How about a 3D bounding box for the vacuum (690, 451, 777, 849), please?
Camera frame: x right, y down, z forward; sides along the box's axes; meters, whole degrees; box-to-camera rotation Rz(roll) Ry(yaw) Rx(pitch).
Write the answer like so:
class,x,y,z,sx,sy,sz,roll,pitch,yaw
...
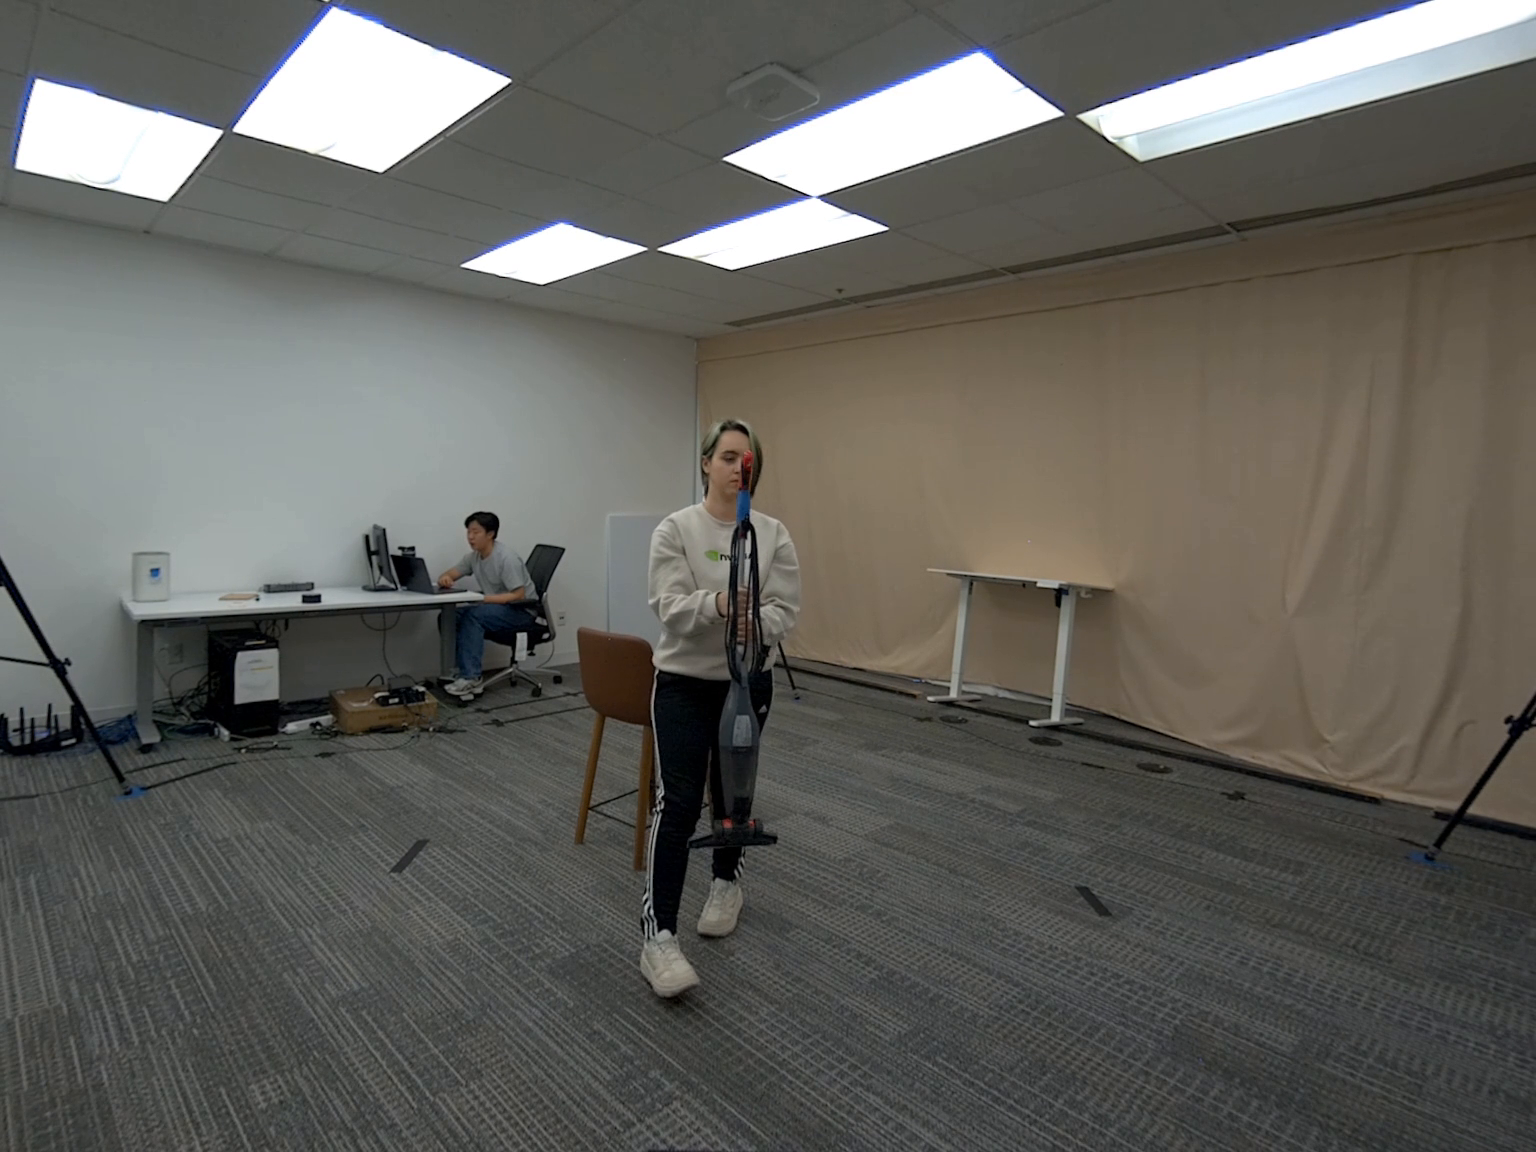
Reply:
class,x,y,z,sx,sy,sz,roll,pitch,yaw
vacuum,-0.078,0.198,2.269,0.250,1.045,0.146,2,6,-12
